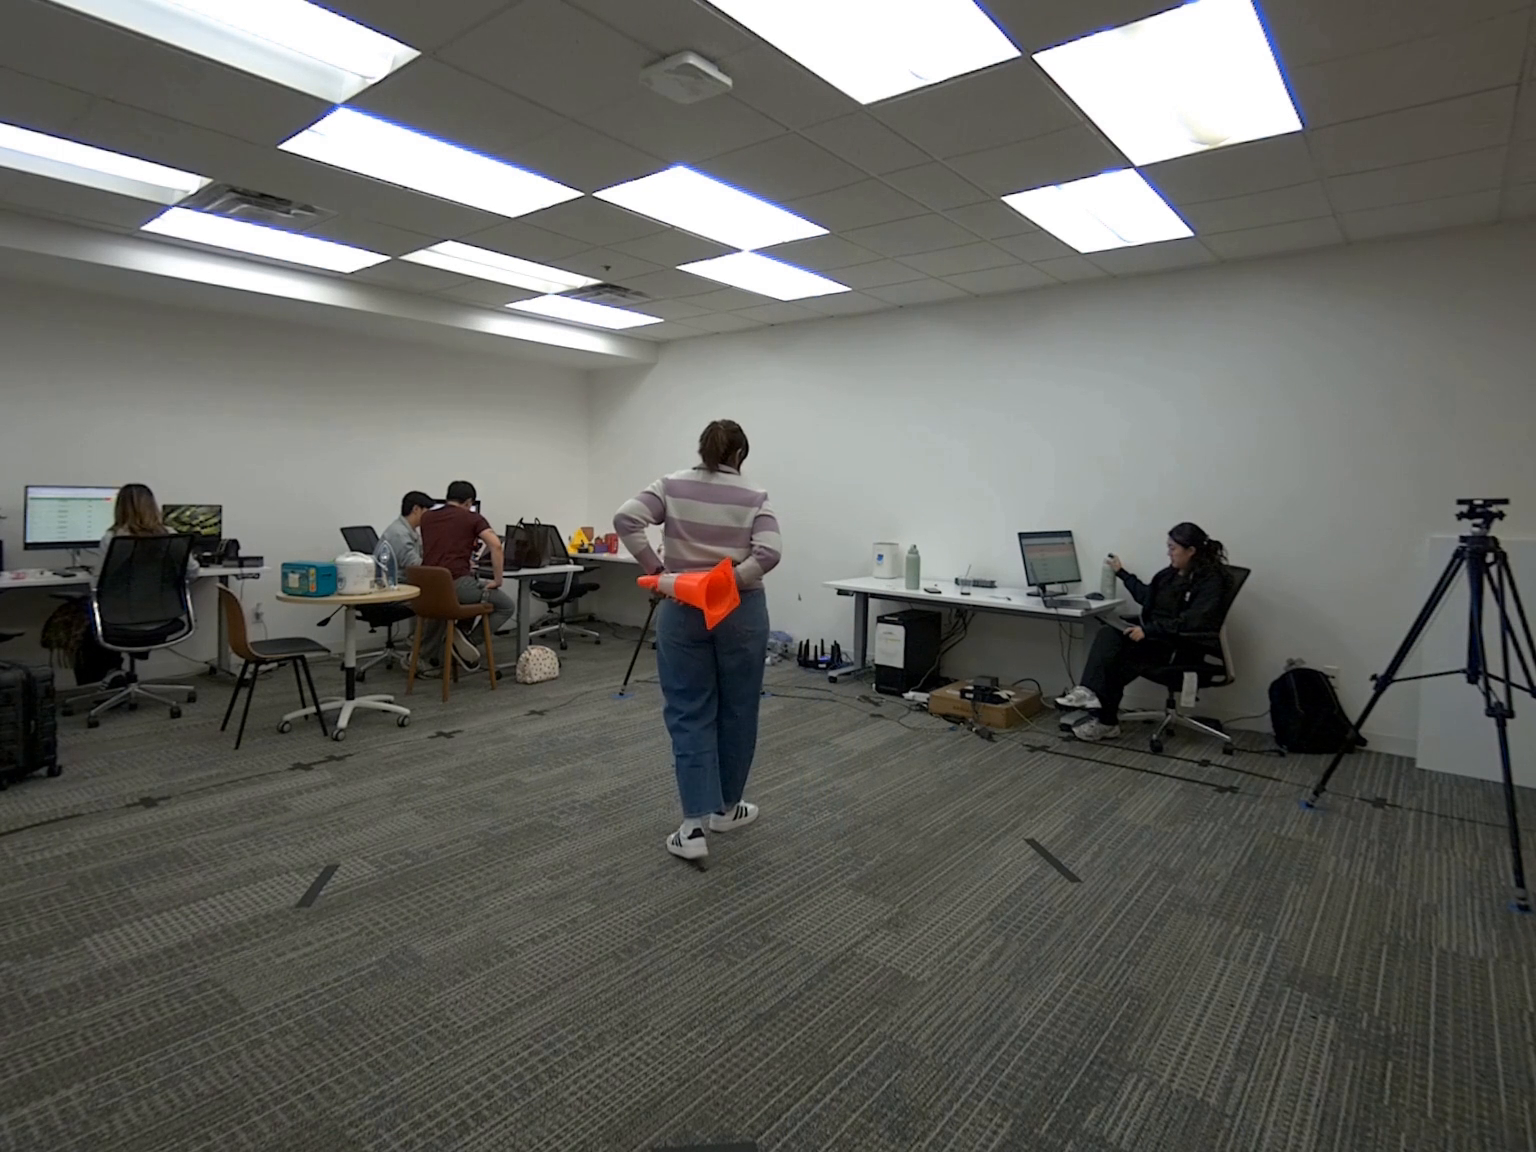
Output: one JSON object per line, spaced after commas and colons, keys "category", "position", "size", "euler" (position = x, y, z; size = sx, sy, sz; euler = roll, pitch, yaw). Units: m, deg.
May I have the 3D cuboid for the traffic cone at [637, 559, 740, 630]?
{"category": "traffic cone", "position": [-0.344, 0.030, 3.129], "size": [0.397, 0.199, 0.202], "euler": [9, 34, 34]}
